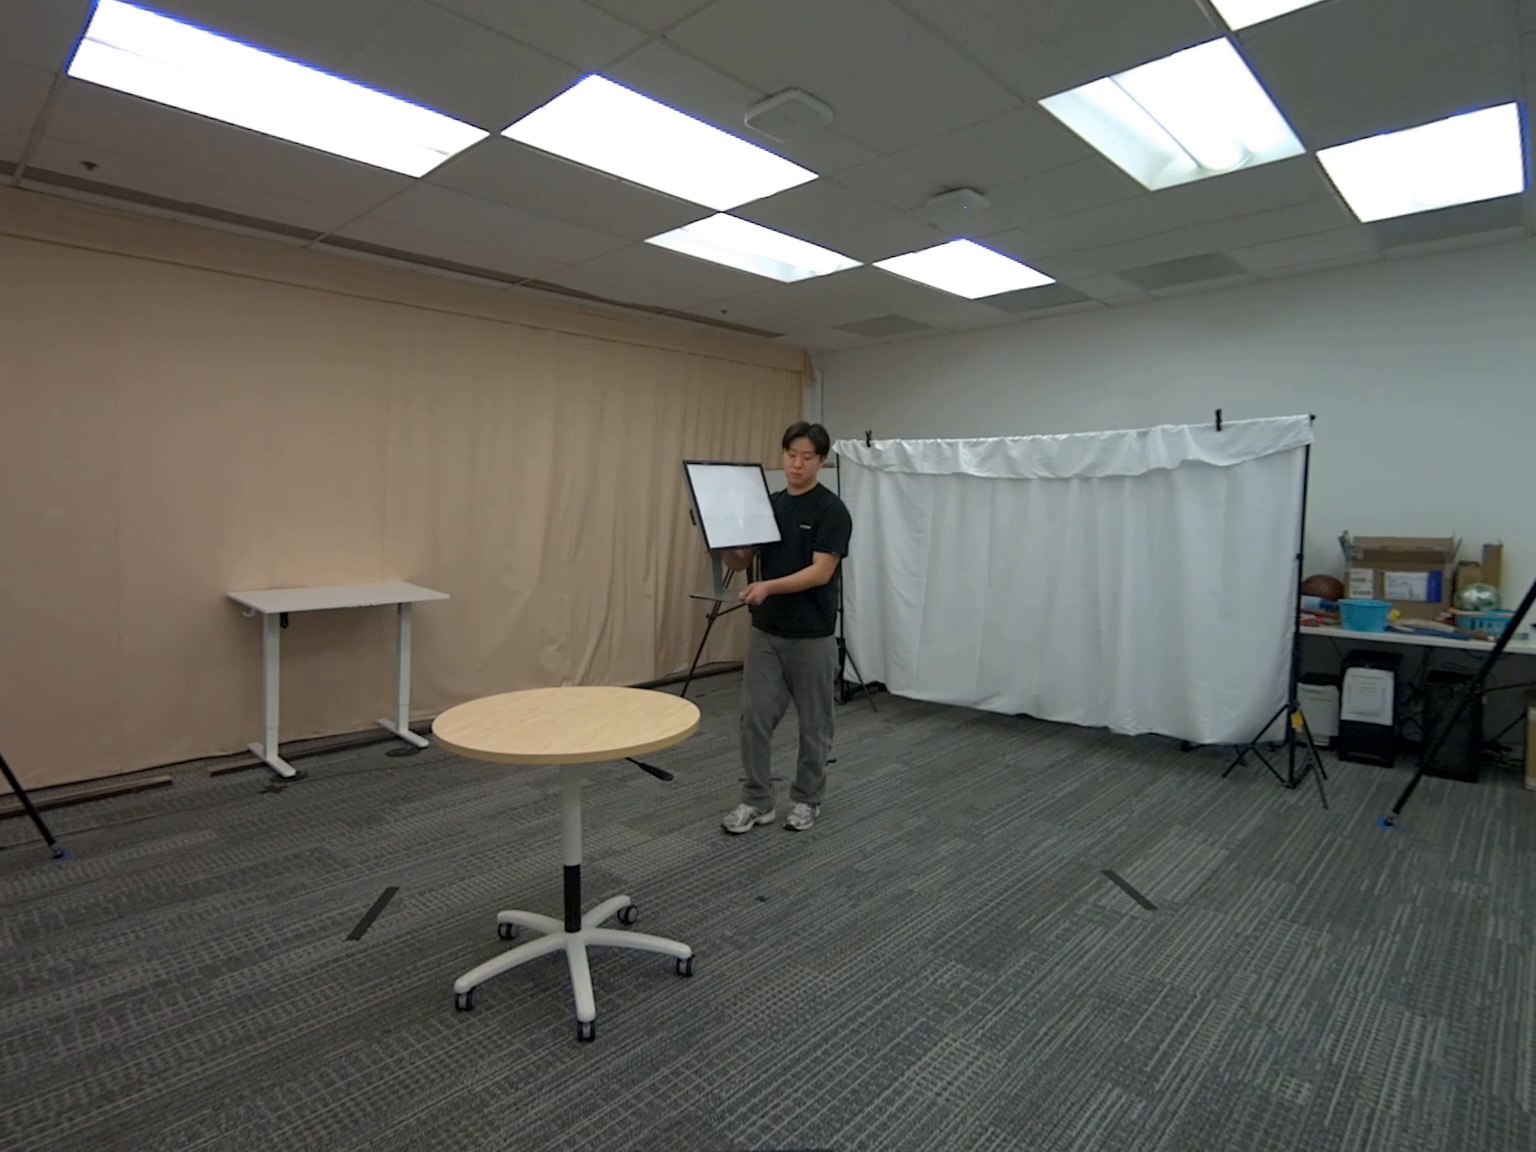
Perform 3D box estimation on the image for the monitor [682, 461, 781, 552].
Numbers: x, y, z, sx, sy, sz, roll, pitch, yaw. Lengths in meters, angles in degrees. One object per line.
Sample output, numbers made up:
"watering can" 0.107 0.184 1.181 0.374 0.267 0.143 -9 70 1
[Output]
"monitor" -0.160 -0.175 3.386 0.229 0.564 0.546 2 5 34
